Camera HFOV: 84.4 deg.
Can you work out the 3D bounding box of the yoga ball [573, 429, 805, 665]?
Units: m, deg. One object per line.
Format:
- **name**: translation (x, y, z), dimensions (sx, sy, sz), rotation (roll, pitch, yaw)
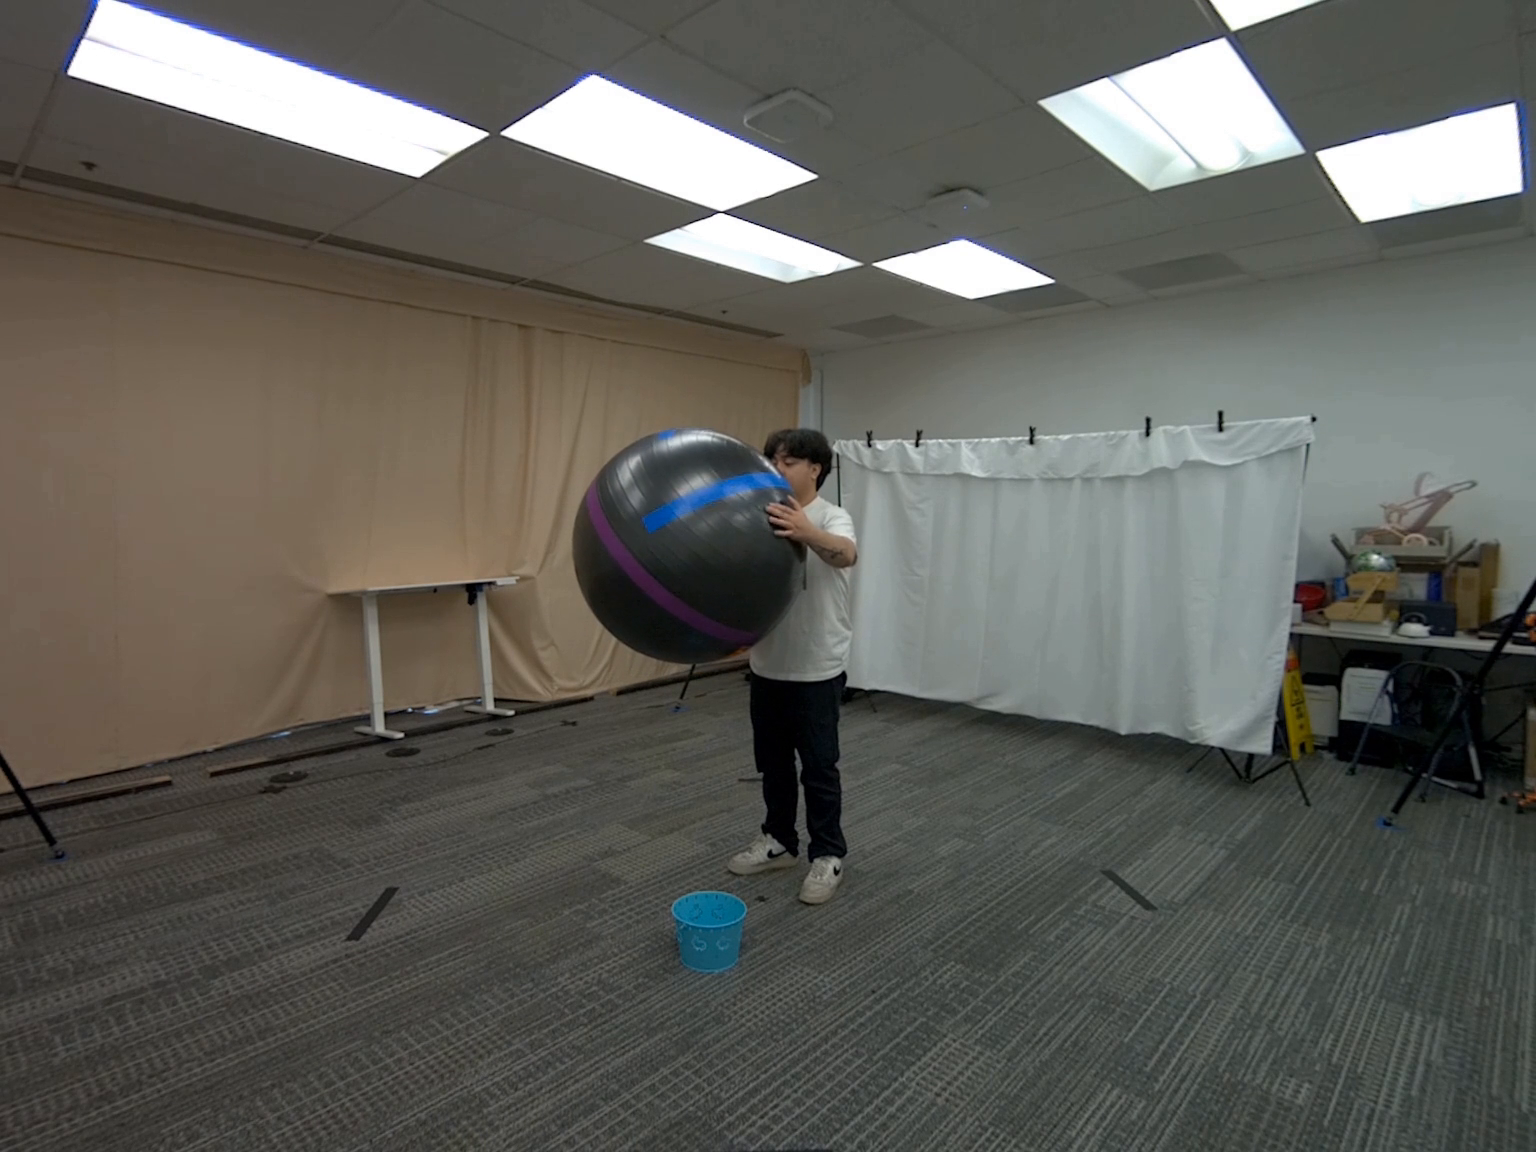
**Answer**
- **yoga ball**: translation (-0.258, -0.088, 2.739), dimensions (0.757, 0.756, 0.760), rotation (0, 4, -2)
